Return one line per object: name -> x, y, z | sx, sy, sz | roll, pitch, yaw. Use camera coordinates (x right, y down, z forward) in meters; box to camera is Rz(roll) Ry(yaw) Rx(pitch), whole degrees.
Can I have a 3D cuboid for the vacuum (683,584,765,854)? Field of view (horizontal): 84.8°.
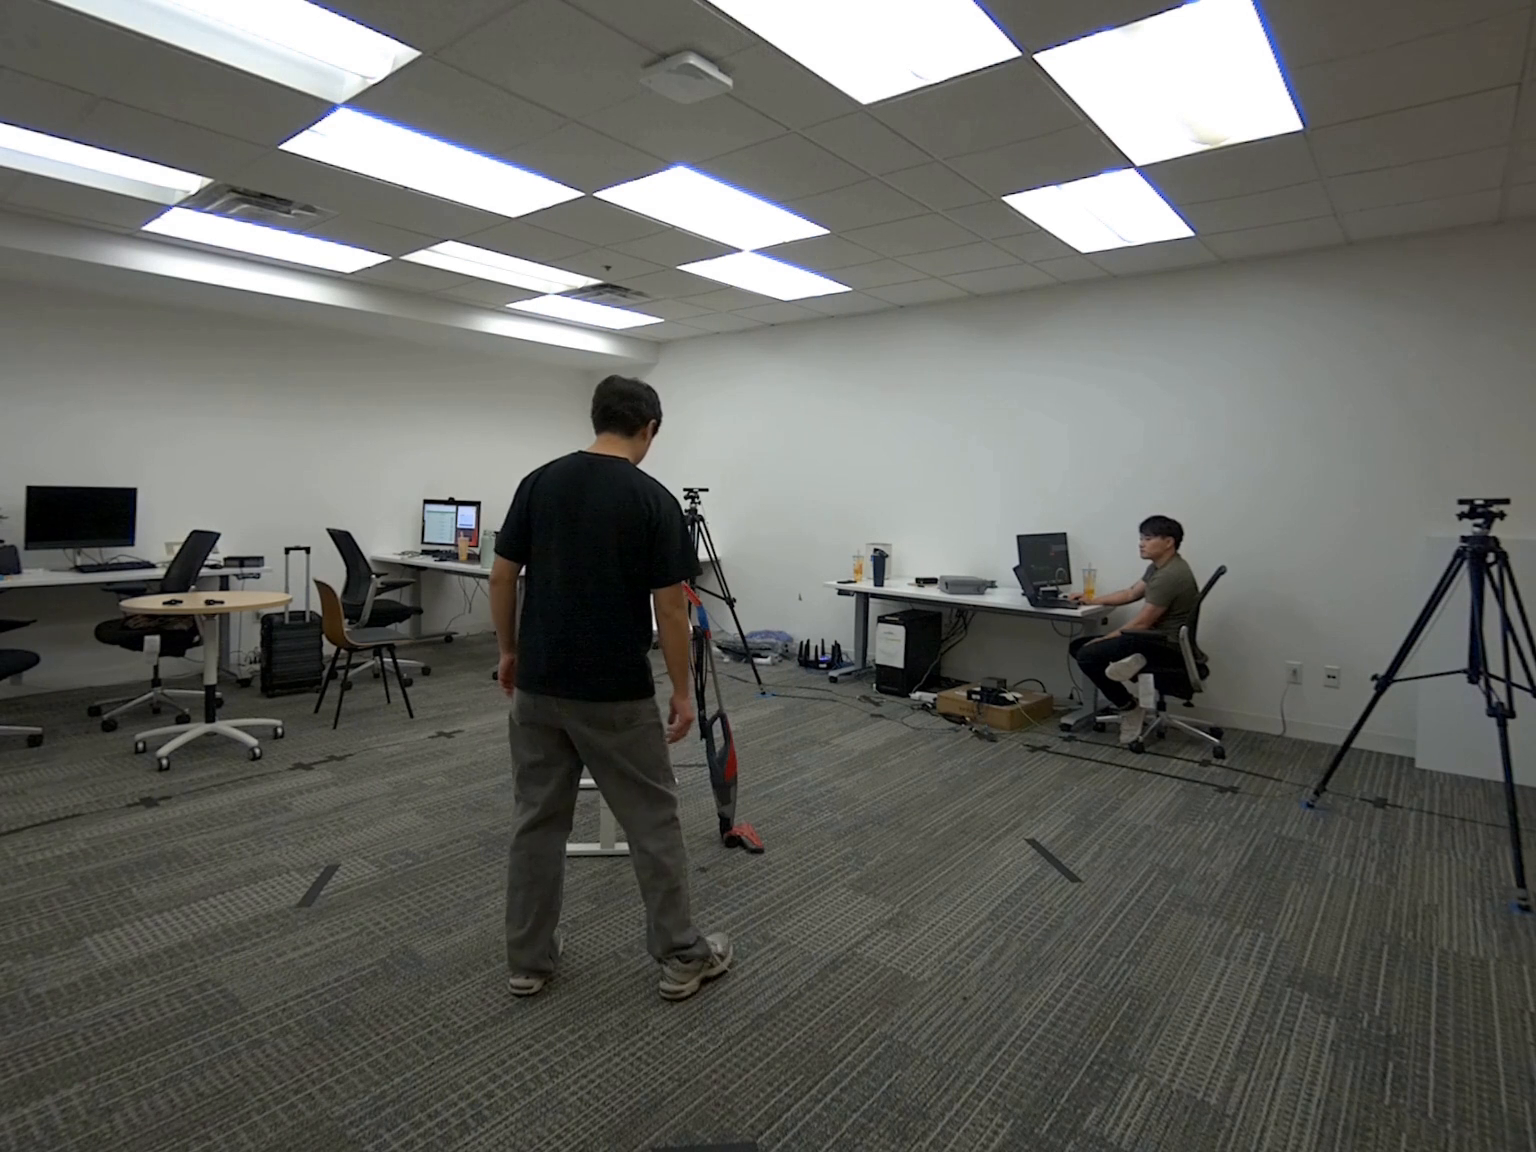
vacuum -> -0.228, 0.541, 3.325 | 0.142, 1.042, 0.257 | -13, 6, -13
